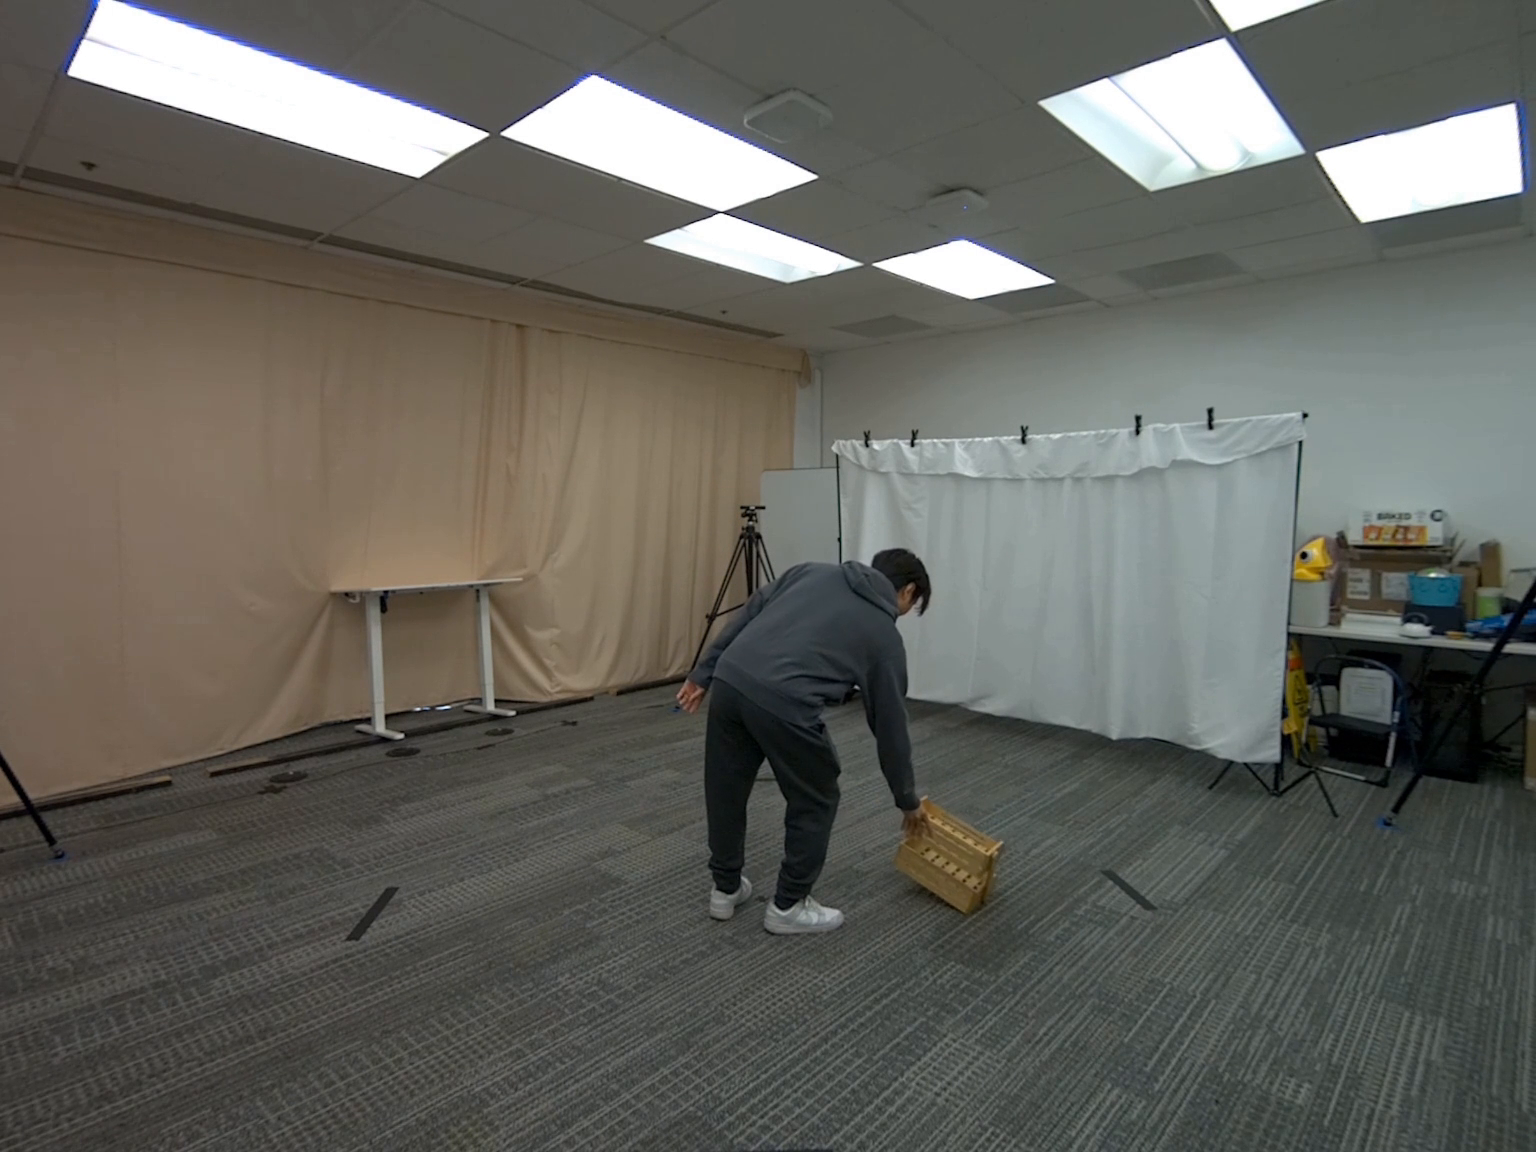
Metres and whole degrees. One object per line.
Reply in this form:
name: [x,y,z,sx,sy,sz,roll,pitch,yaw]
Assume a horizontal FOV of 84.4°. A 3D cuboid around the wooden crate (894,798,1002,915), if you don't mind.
wooden crate: [0.660,0.961,2.995,0.335,0.272,0.293,24,17,30]
